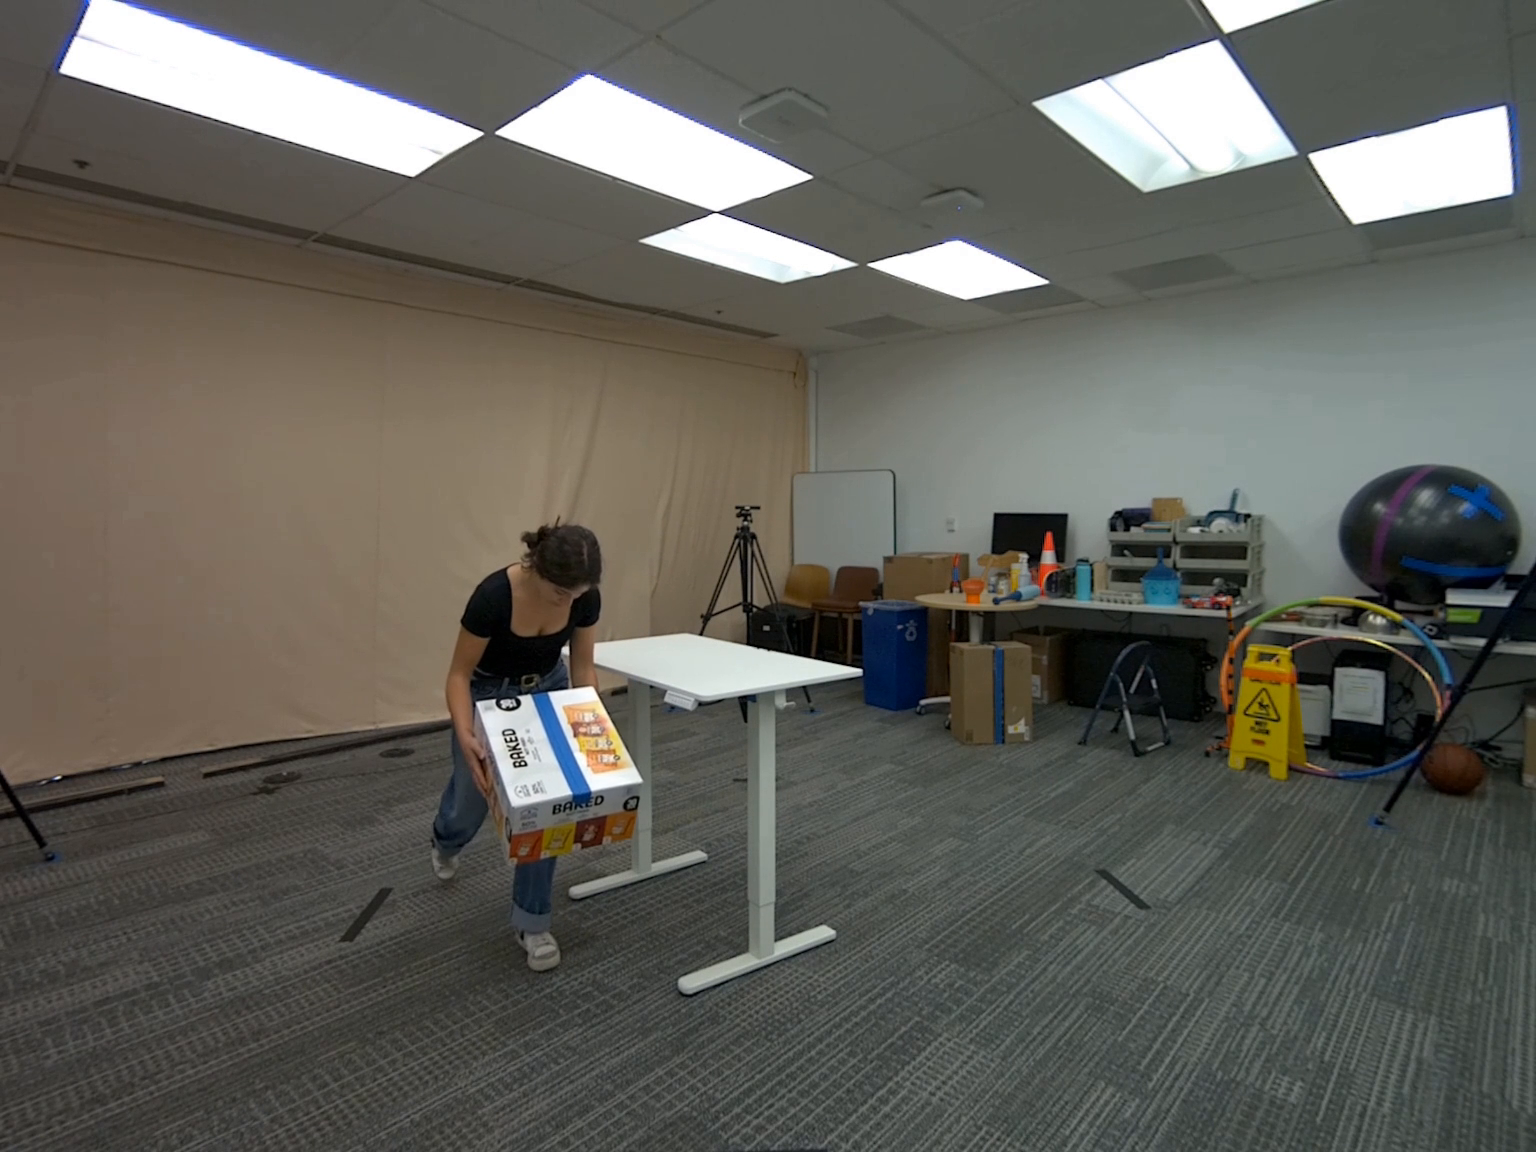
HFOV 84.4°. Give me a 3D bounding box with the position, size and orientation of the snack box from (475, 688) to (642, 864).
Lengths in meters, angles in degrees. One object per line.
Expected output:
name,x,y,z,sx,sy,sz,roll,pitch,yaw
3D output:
snack box,-0.582,0.519,2.272,0.331,0.204,0.419,-4,32,-30
